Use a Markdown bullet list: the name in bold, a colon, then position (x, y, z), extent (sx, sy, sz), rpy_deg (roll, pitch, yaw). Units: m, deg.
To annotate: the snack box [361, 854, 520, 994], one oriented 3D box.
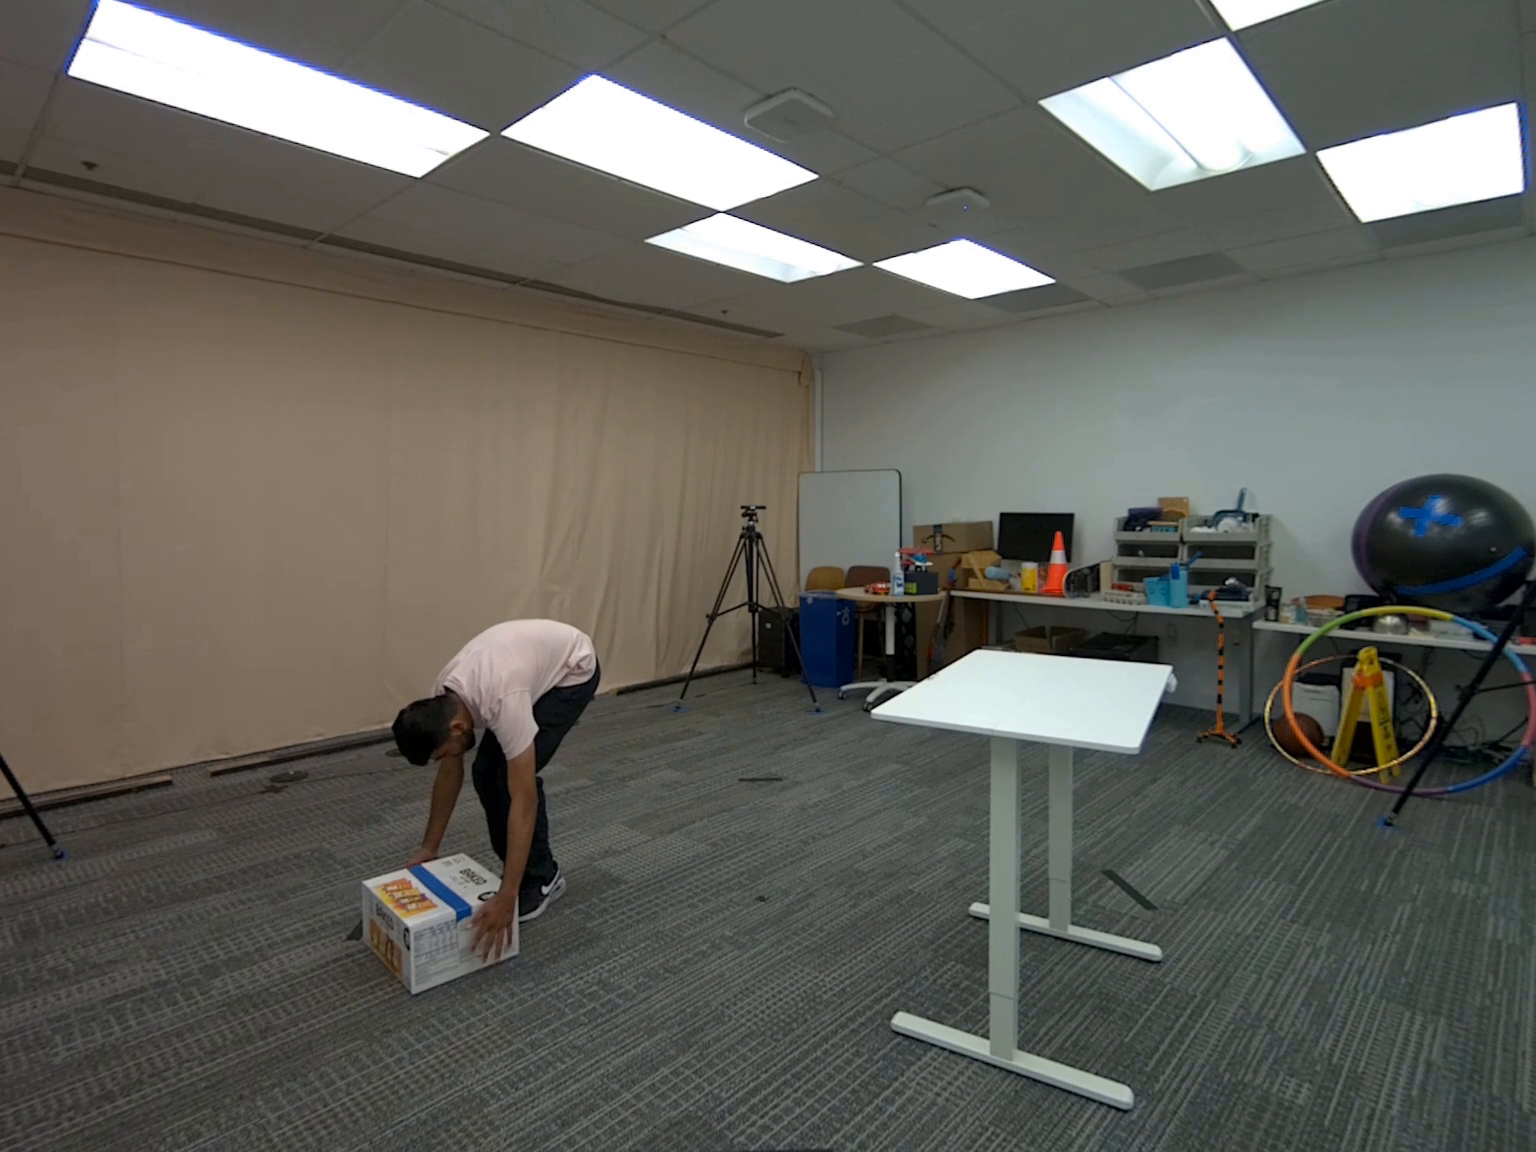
- **snack box**: position (-1.034, 1.076, 2.653), extent (0.330, 0.205, 0.418), rpy_deg (-5, 6, -42)
